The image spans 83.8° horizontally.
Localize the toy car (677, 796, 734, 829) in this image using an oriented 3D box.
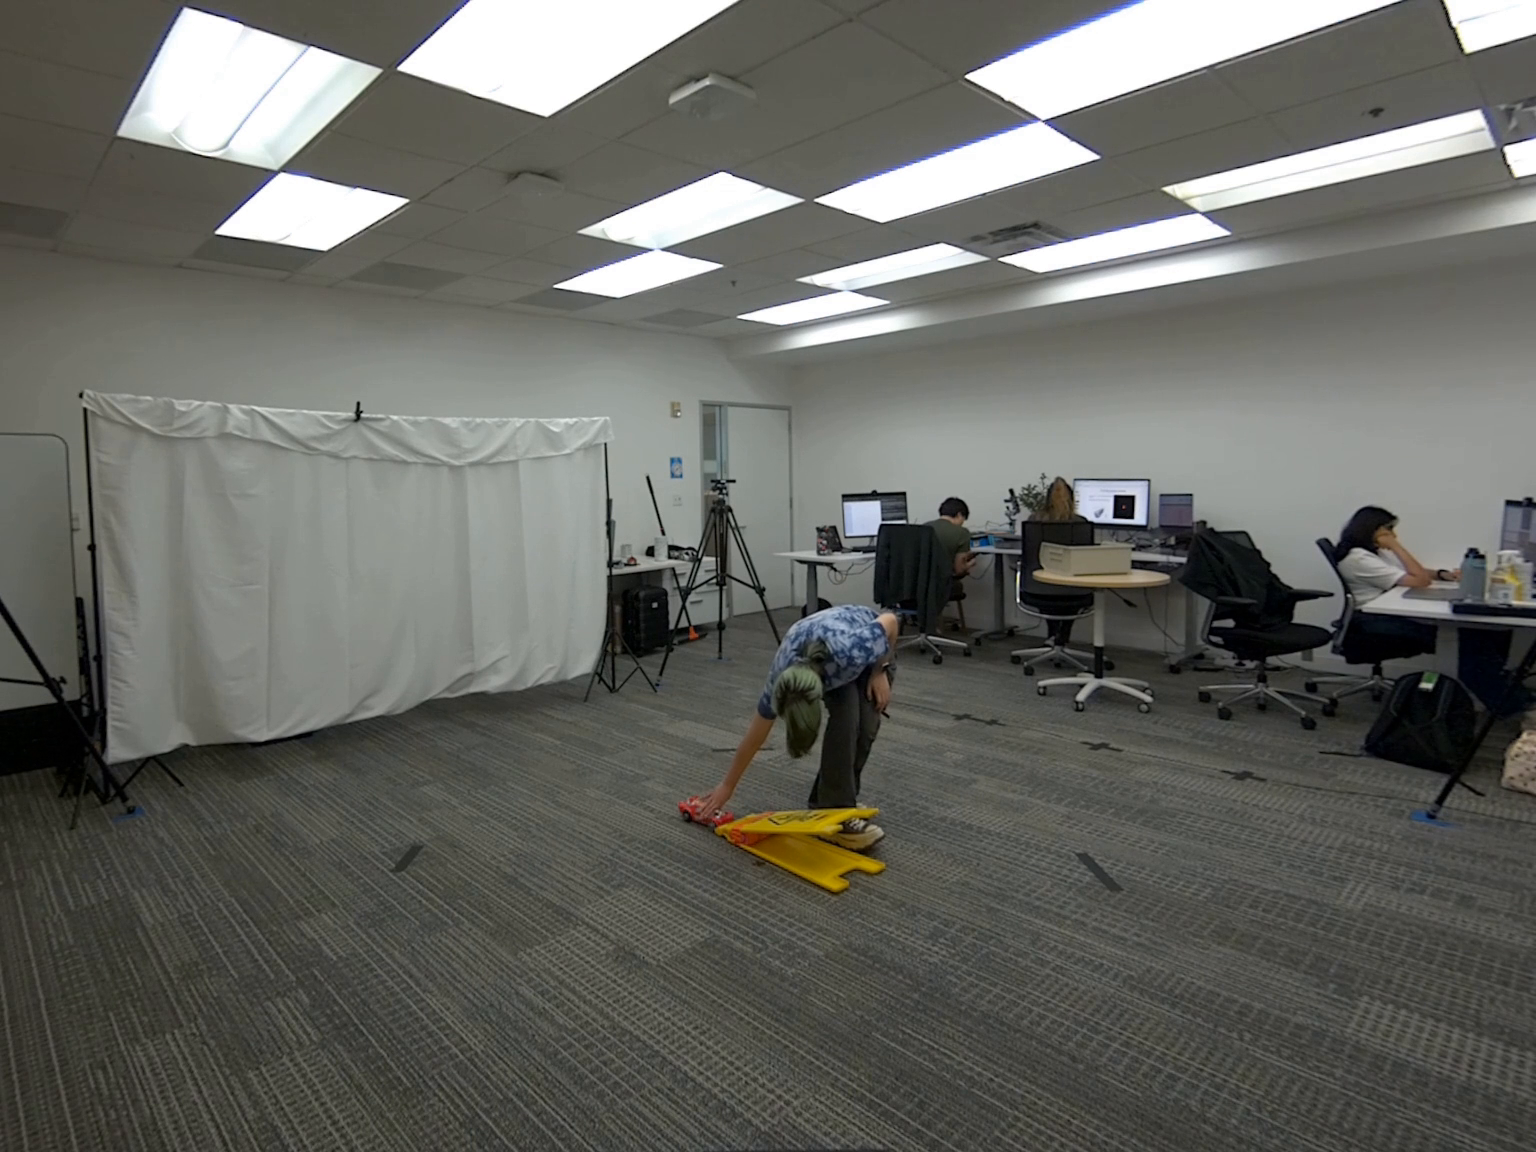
[{"bbox_3d":[-0.260,0.974,3.509,0.264,0.082,0.127,20,18,41],"label":"toy car"}]
